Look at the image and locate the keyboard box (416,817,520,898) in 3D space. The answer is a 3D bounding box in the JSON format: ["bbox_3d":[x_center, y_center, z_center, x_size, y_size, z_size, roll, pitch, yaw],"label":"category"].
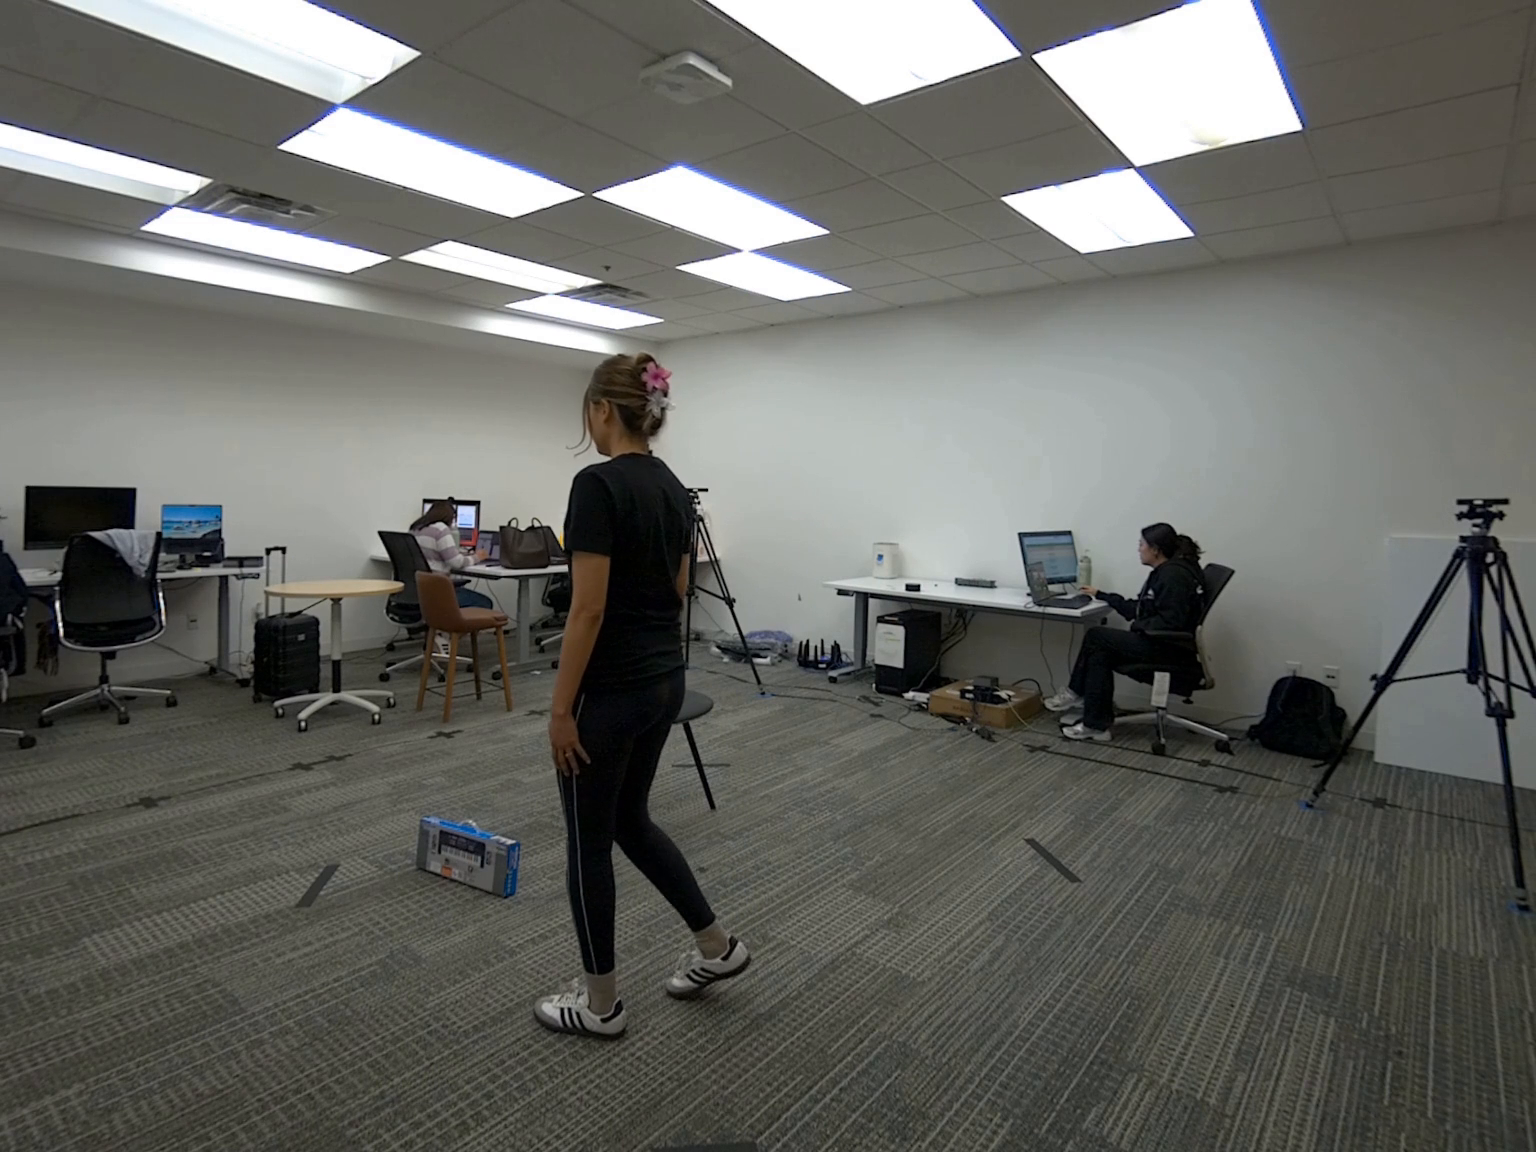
[{"bbox_3d":[-1.073,0.982,2.991,0.449,0.176,0.057,4,-2,29],"label":"keyboard box"}]
